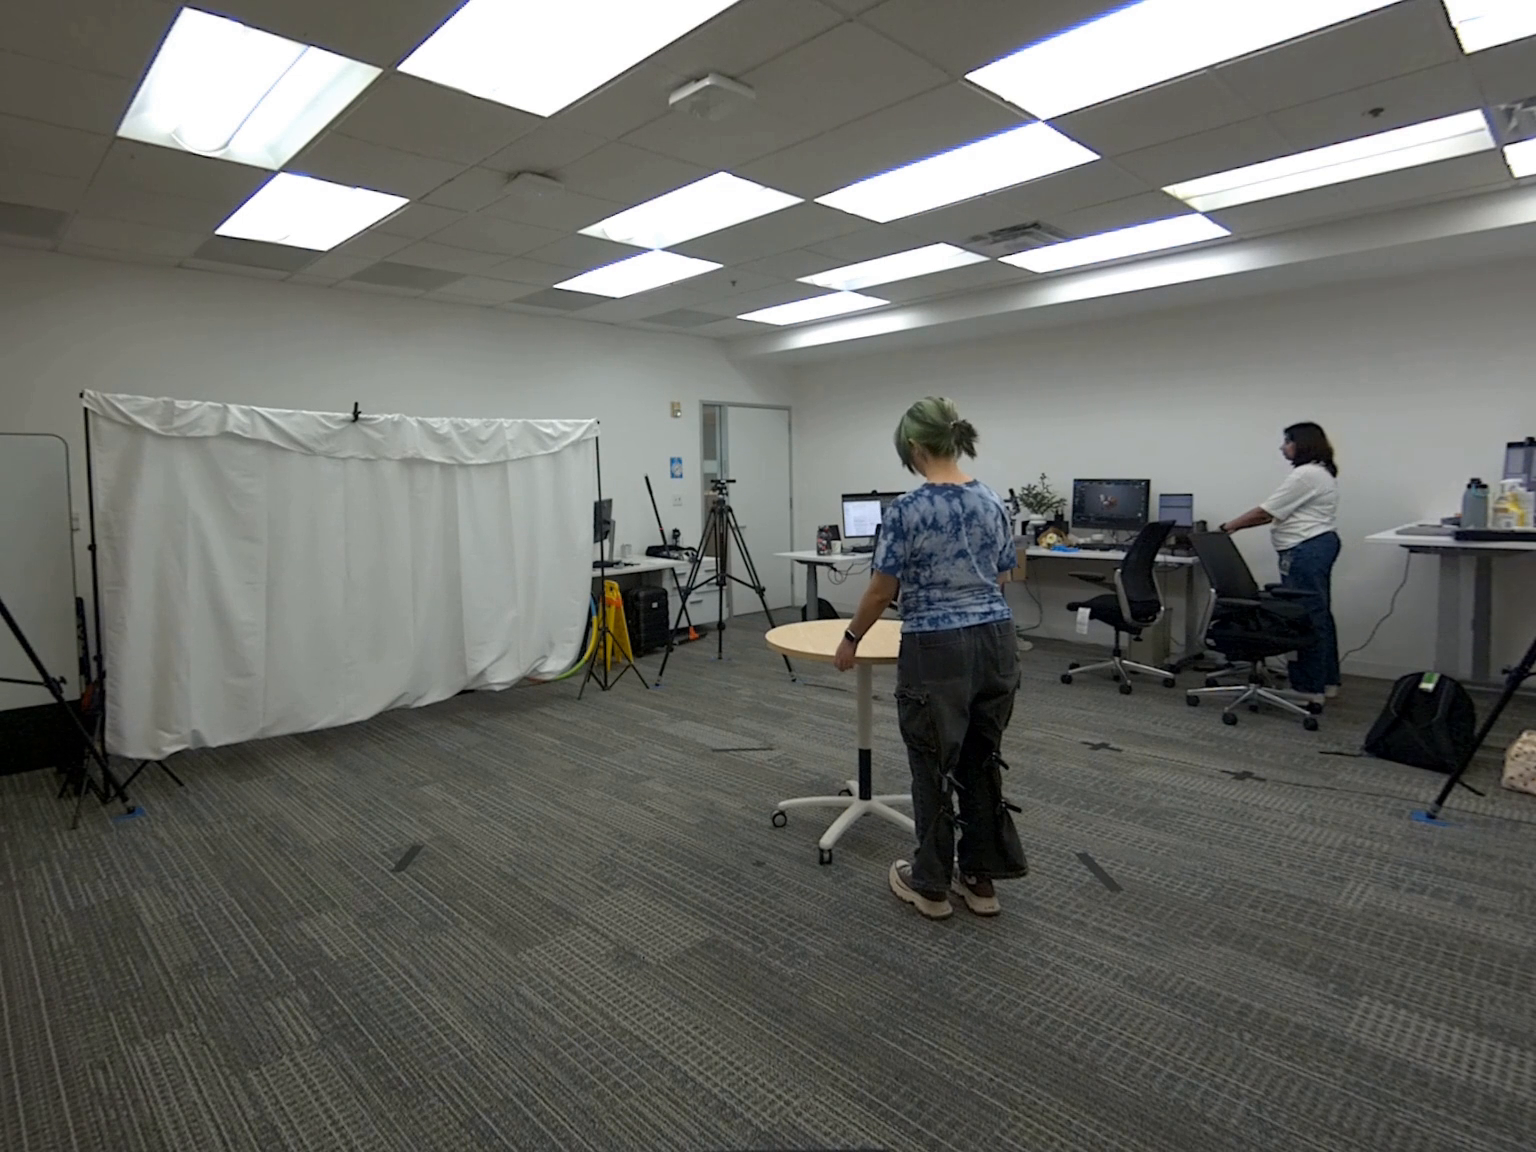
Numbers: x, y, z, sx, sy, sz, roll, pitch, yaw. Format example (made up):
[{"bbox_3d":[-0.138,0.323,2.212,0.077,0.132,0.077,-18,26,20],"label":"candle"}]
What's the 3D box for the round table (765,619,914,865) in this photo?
[{"bbox_3d":[0.370,0.623,3.337,0.763,0.791,0.768,-1,5,-2],"label":"round table"}]
